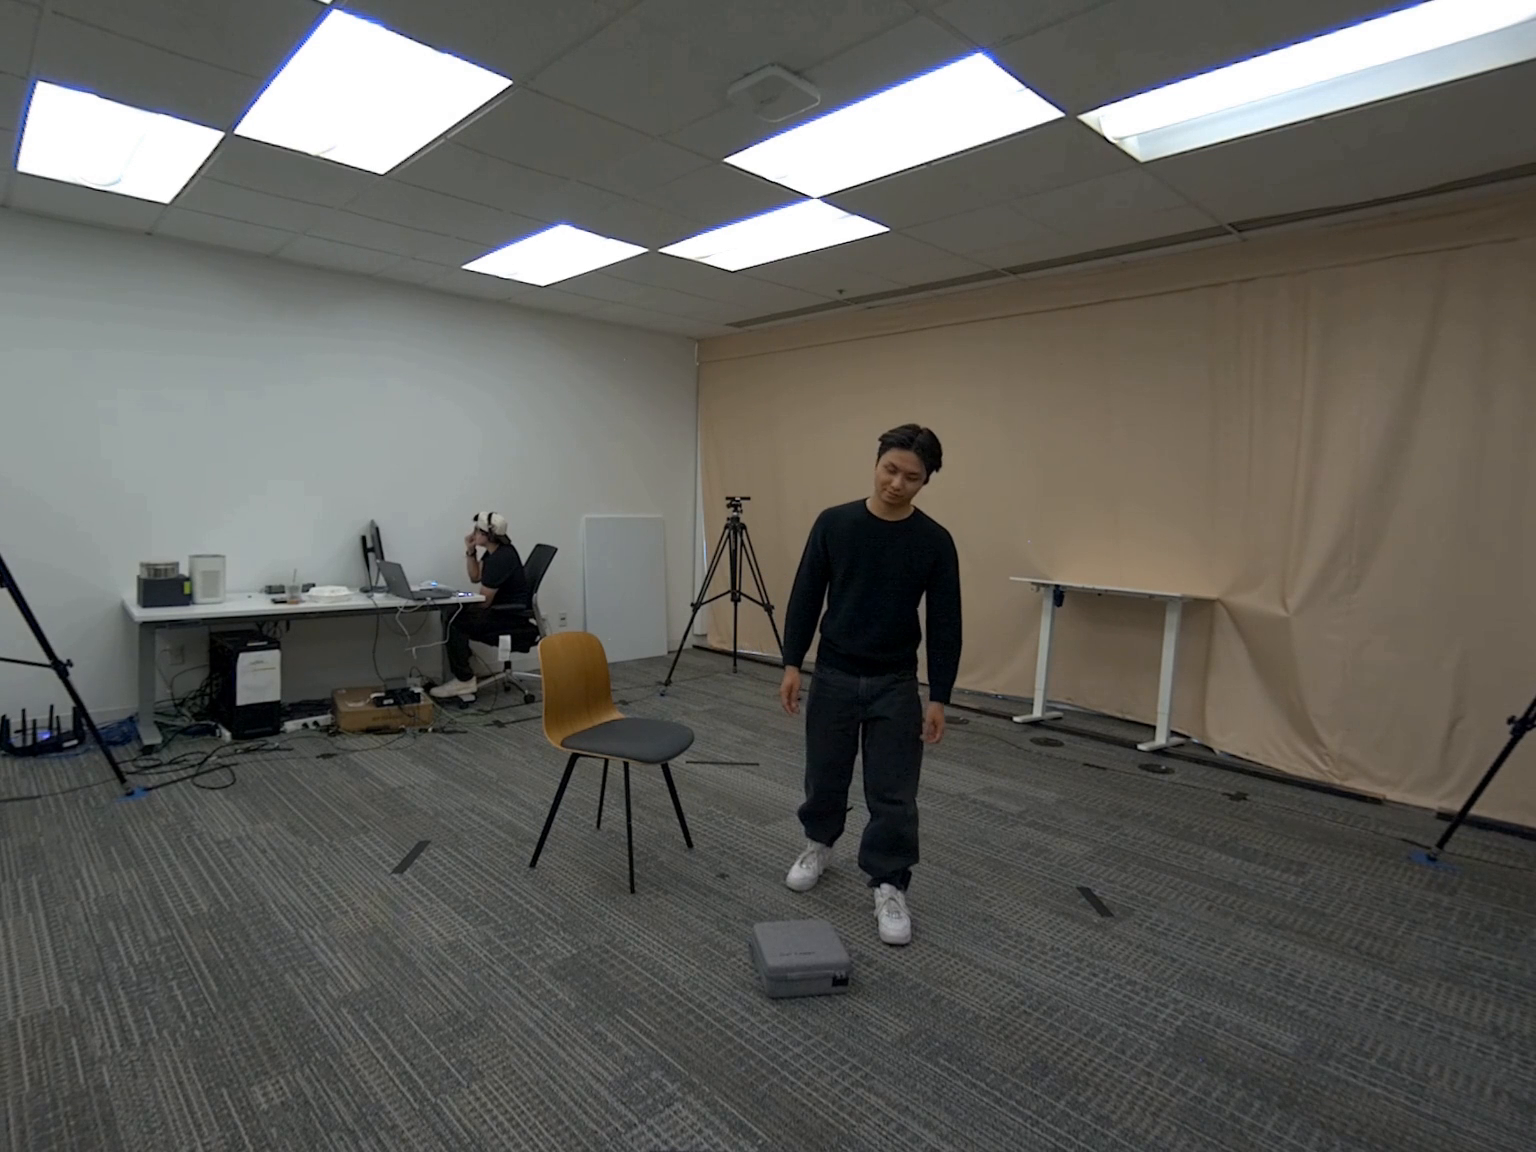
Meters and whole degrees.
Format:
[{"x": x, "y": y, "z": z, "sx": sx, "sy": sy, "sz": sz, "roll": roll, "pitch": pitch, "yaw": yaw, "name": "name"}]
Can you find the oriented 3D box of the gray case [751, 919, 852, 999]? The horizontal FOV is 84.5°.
[{"x": 0.079, "y": 1.116, "z": 2.471, "sx": 0.255, "sy": 0.104, "sz": 0.263, "roll": 0, "pitch": 5, "yaw": -11, "name": "gray case"}]
